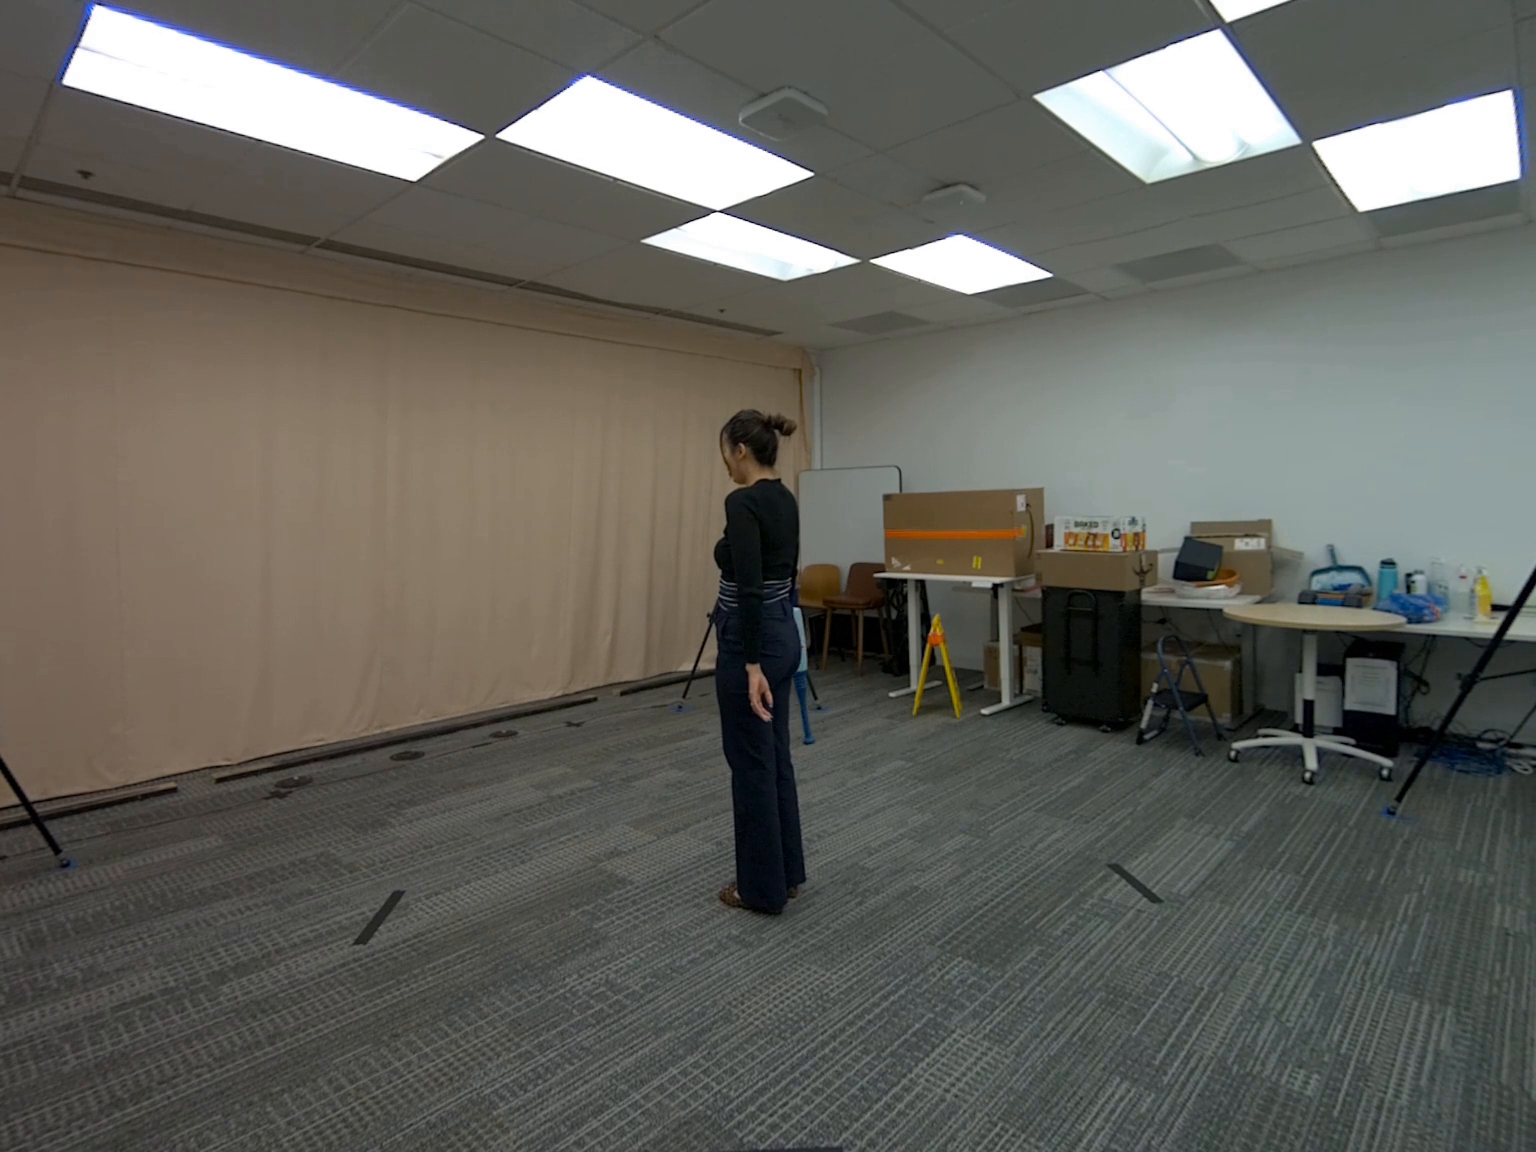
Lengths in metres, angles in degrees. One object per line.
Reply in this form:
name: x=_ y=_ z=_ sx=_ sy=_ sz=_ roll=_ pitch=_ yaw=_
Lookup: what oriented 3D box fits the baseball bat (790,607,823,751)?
baseball bat: x=0.128 y=0.399 z=3.342 sx=0.089 sy=0.544 sz=0.089 roll=-7 pitch=-3 yaw=-2
